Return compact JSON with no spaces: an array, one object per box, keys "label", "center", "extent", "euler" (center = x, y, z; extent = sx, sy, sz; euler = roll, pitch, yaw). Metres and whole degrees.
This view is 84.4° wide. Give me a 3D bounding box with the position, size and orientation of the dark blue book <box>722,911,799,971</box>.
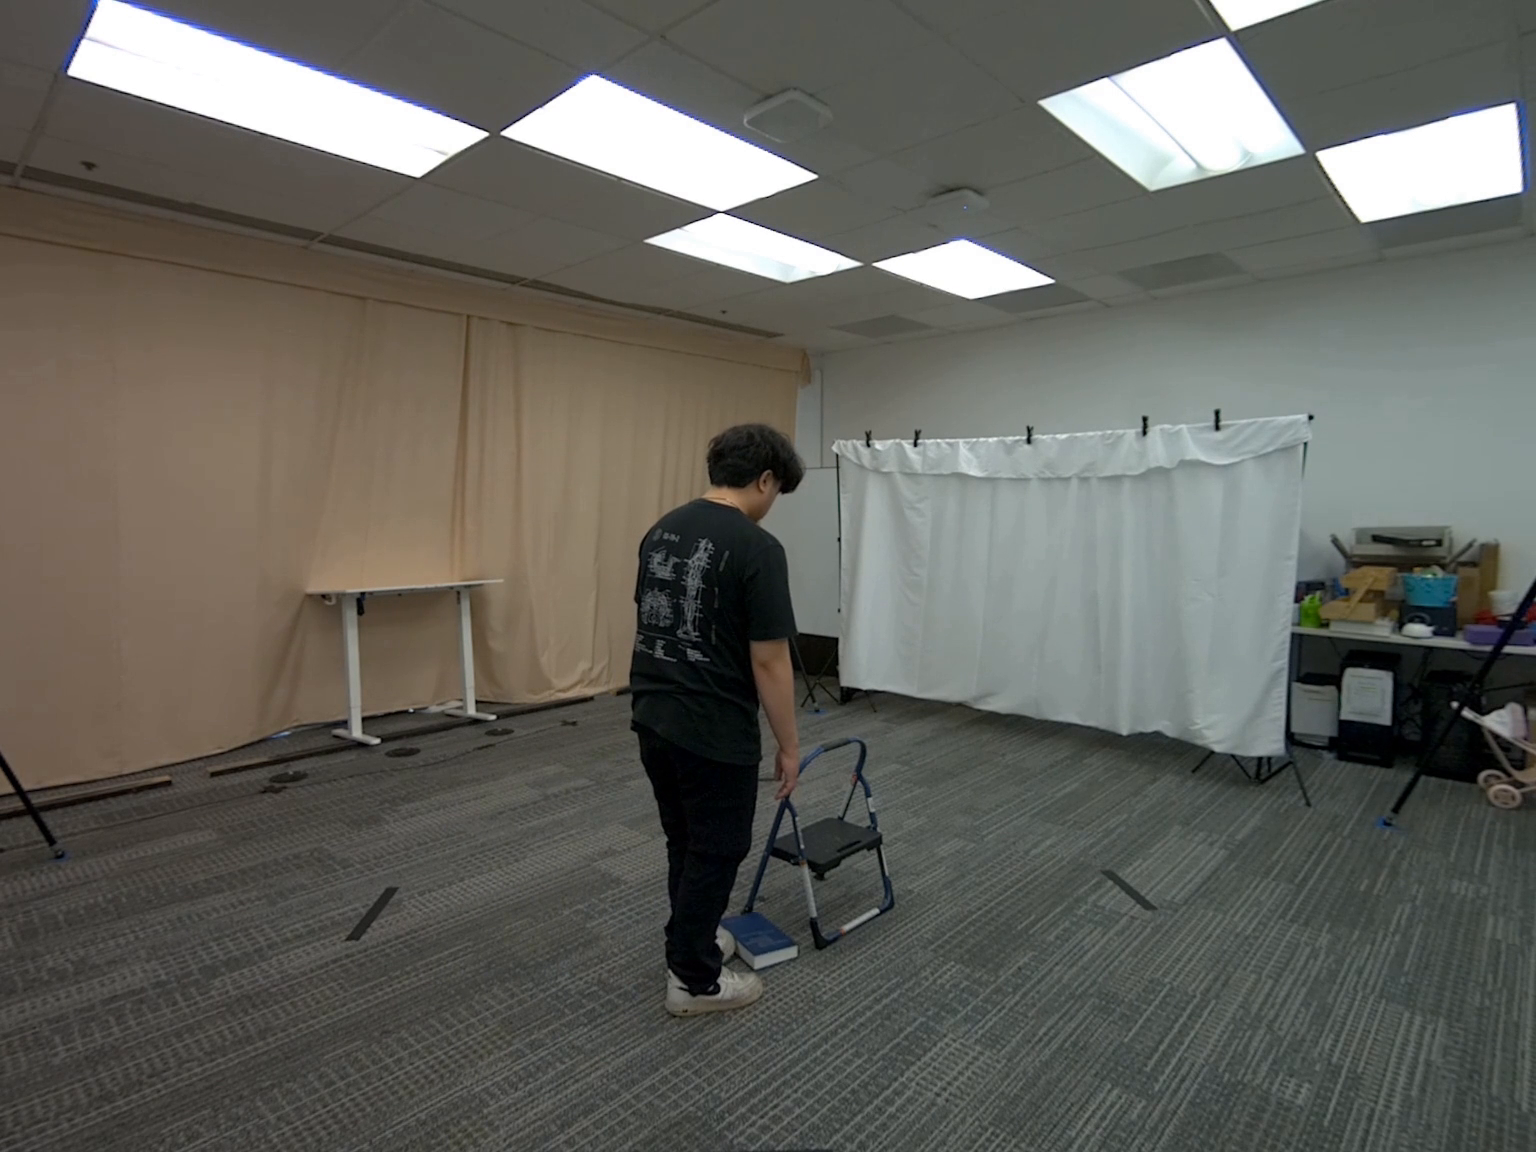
[{"label":"dark blue book","center":[-0.031,1.148,2.657],"extent":[0.159,0.045,0.252],"euler":[0,4,-30]}]
